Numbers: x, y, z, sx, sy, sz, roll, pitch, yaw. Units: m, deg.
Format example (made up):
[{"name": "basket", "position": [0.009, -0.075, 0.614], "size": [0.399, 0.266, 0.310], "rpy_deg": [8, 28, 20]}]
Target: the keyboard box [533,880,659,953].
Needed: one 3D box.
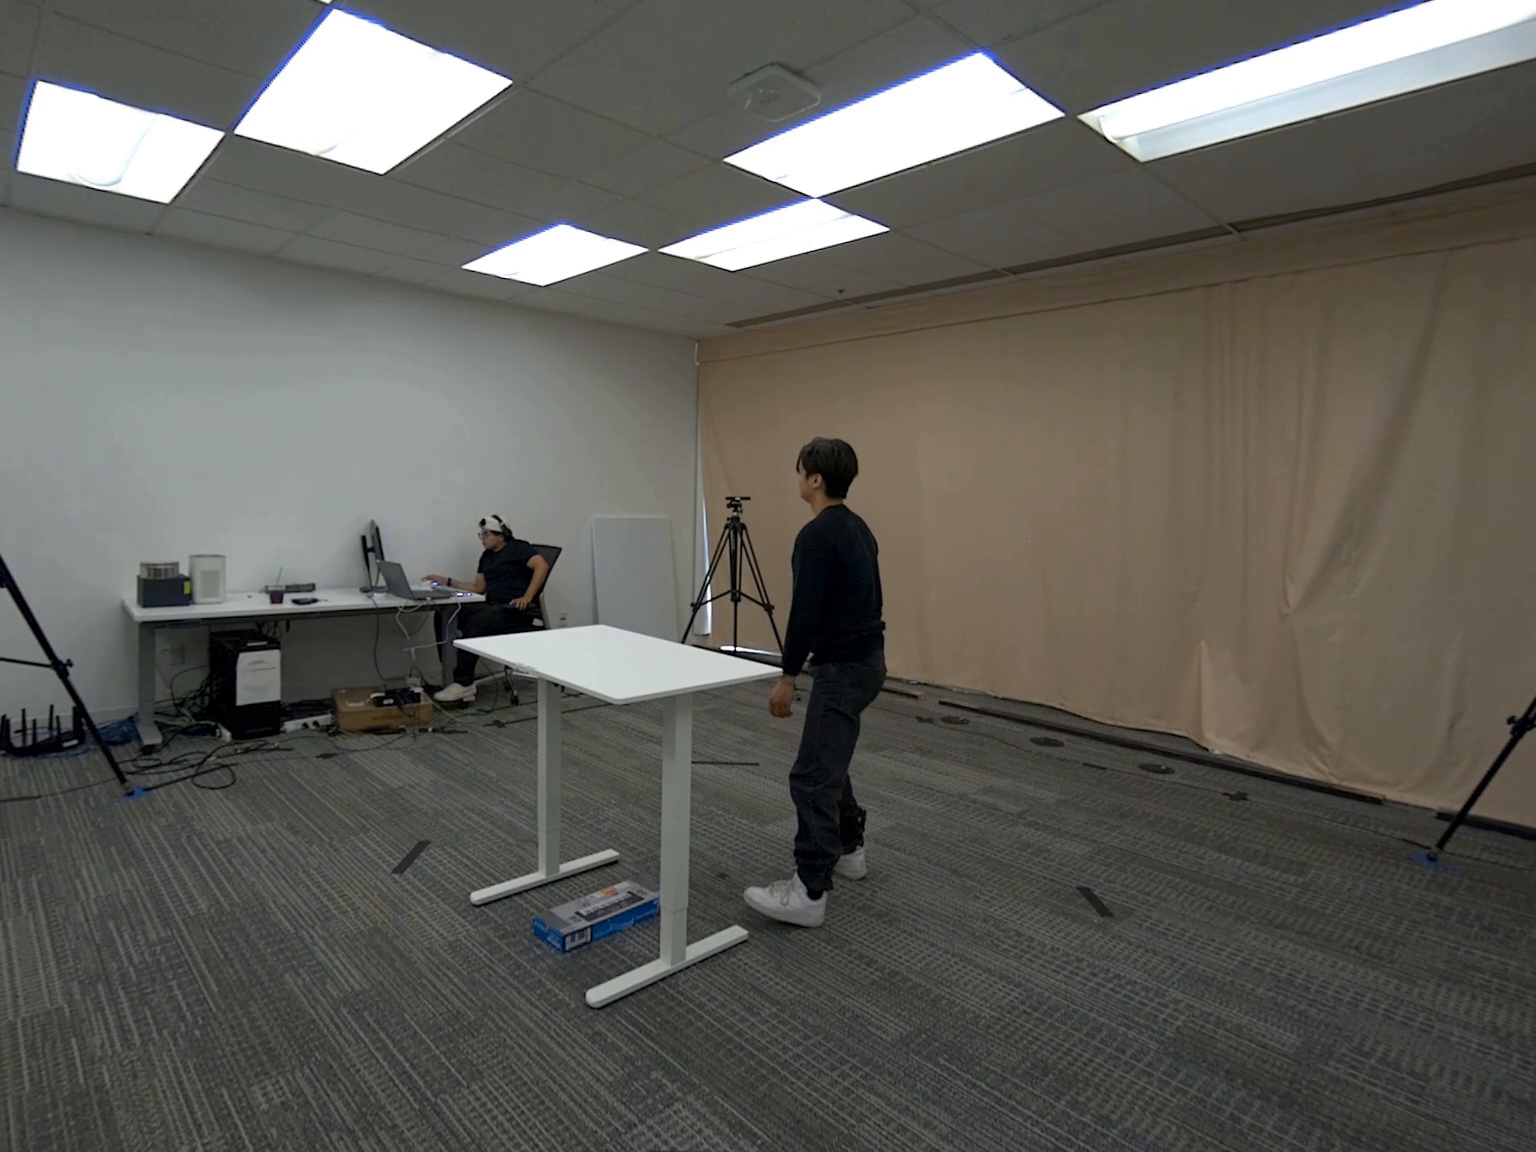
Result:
[{"name": "keyboard box", "position": [-0.539, 1.099, 2.757], "size": [0.180, 0.059, 0.427], "rpy_deg": [6, 7, 44]}]
